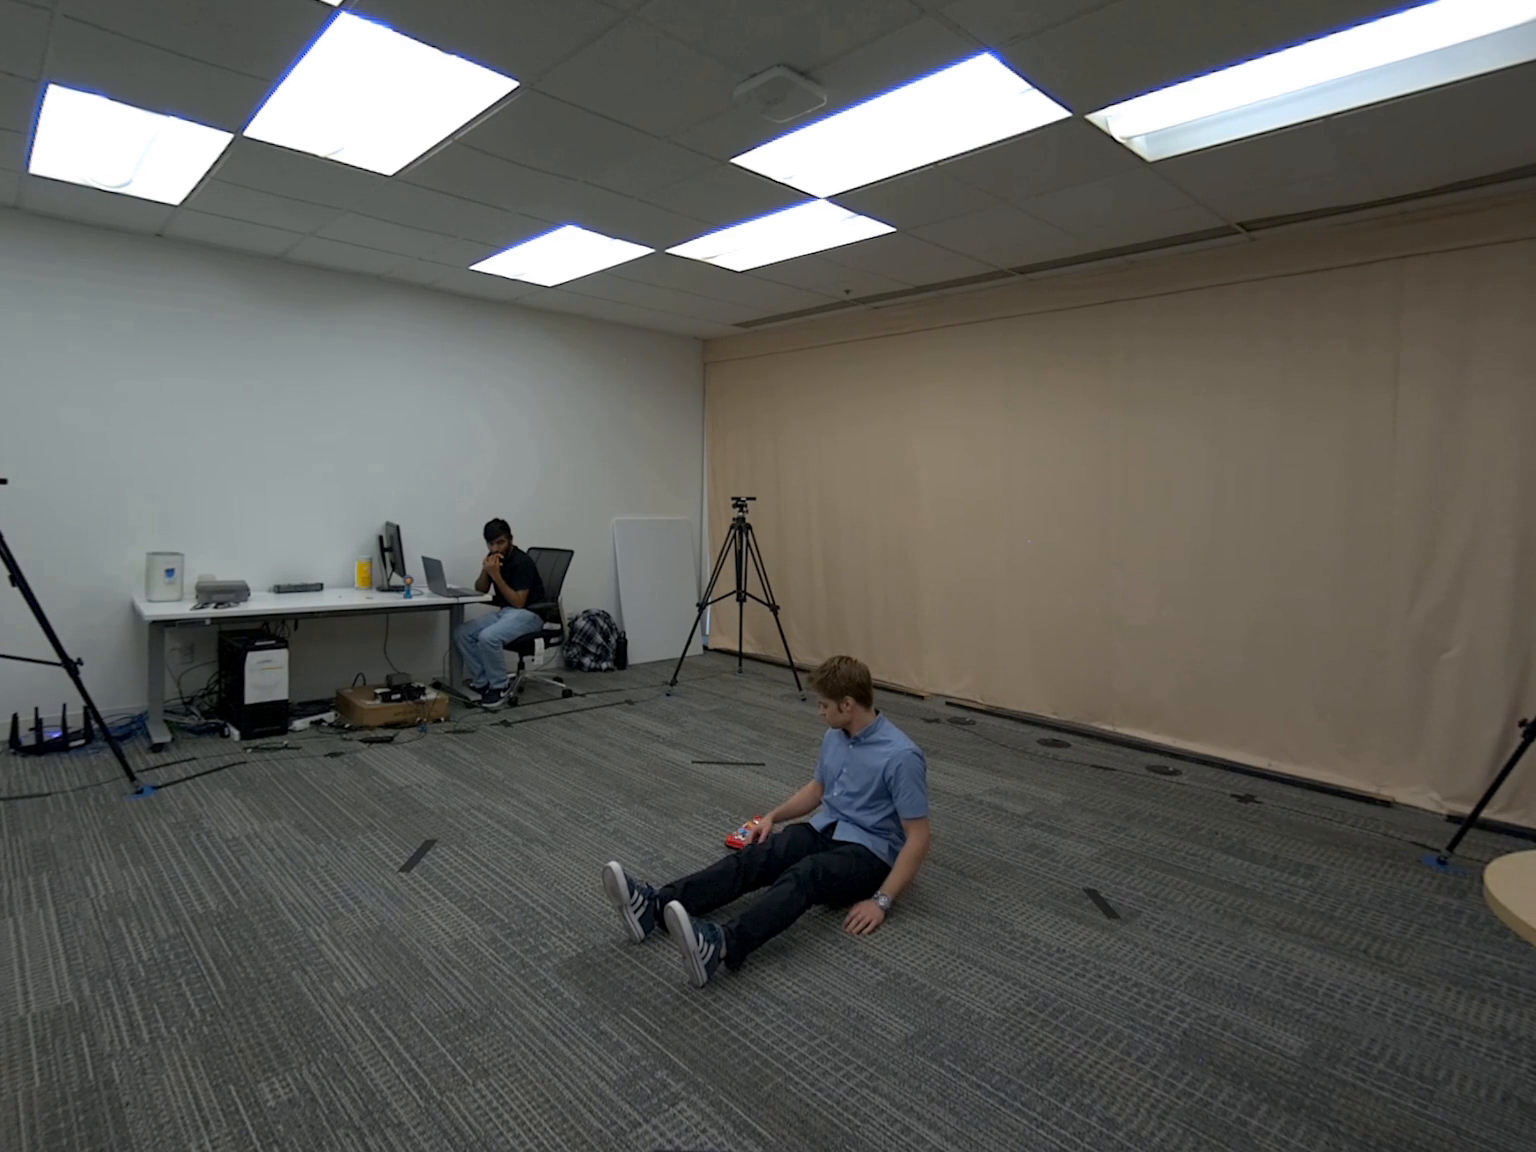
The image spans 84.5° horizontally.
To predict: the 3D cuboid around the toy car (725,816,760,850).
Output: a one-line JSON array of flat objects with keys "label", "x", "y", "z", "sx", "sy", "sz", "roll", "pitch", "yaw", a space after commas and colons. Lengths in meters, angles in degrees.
[{"label": "toy car", "x": -0.077, "y": 1.053, "z": 3.426, "sx": 0.133, "sy": 0.082, "sz": 0.252, "roll": 2, "pitch": 17, "yaw": 33}]
